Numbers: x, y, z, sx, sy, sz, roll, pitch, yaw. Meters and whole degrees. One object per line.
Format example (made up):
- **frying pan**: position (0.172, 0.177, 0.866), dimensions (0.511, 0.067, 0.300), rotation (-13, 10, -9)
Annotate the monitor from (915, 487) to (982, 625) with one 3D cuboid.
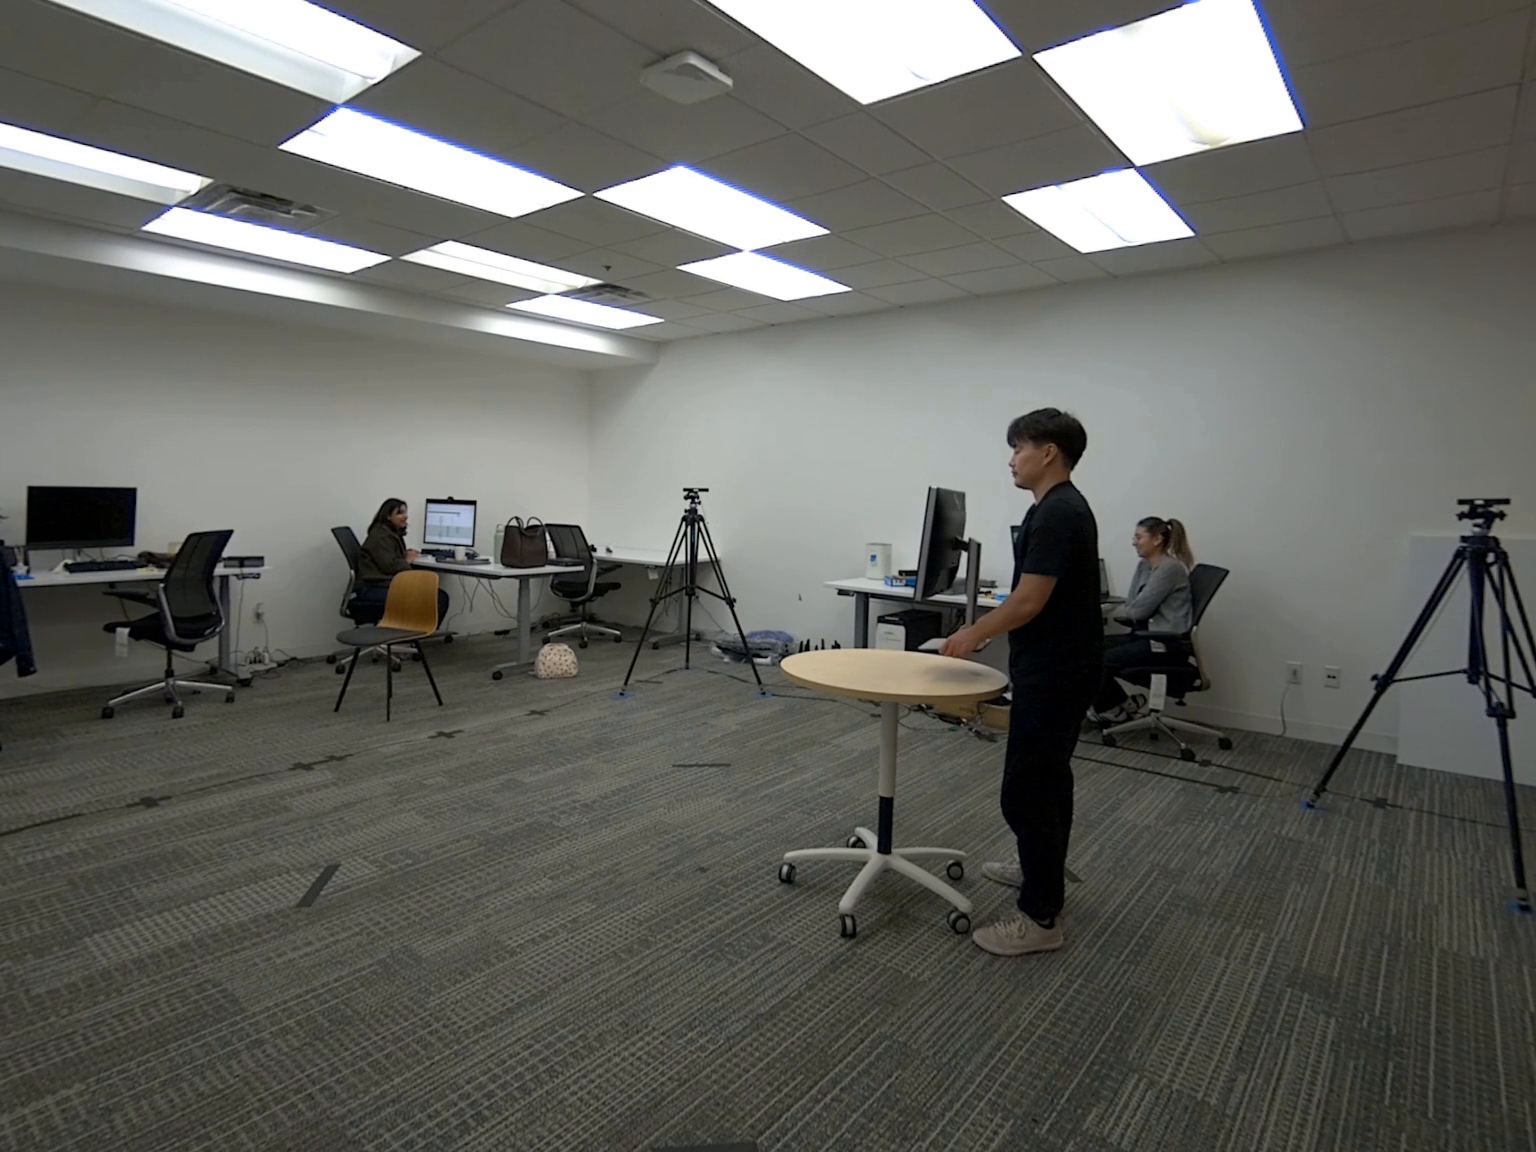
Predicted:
- **monitor**: position (0.622, -0.029, 2.906), dimensions (0.191, 0.523, 0.527), rotation (-4, 0, 21)
